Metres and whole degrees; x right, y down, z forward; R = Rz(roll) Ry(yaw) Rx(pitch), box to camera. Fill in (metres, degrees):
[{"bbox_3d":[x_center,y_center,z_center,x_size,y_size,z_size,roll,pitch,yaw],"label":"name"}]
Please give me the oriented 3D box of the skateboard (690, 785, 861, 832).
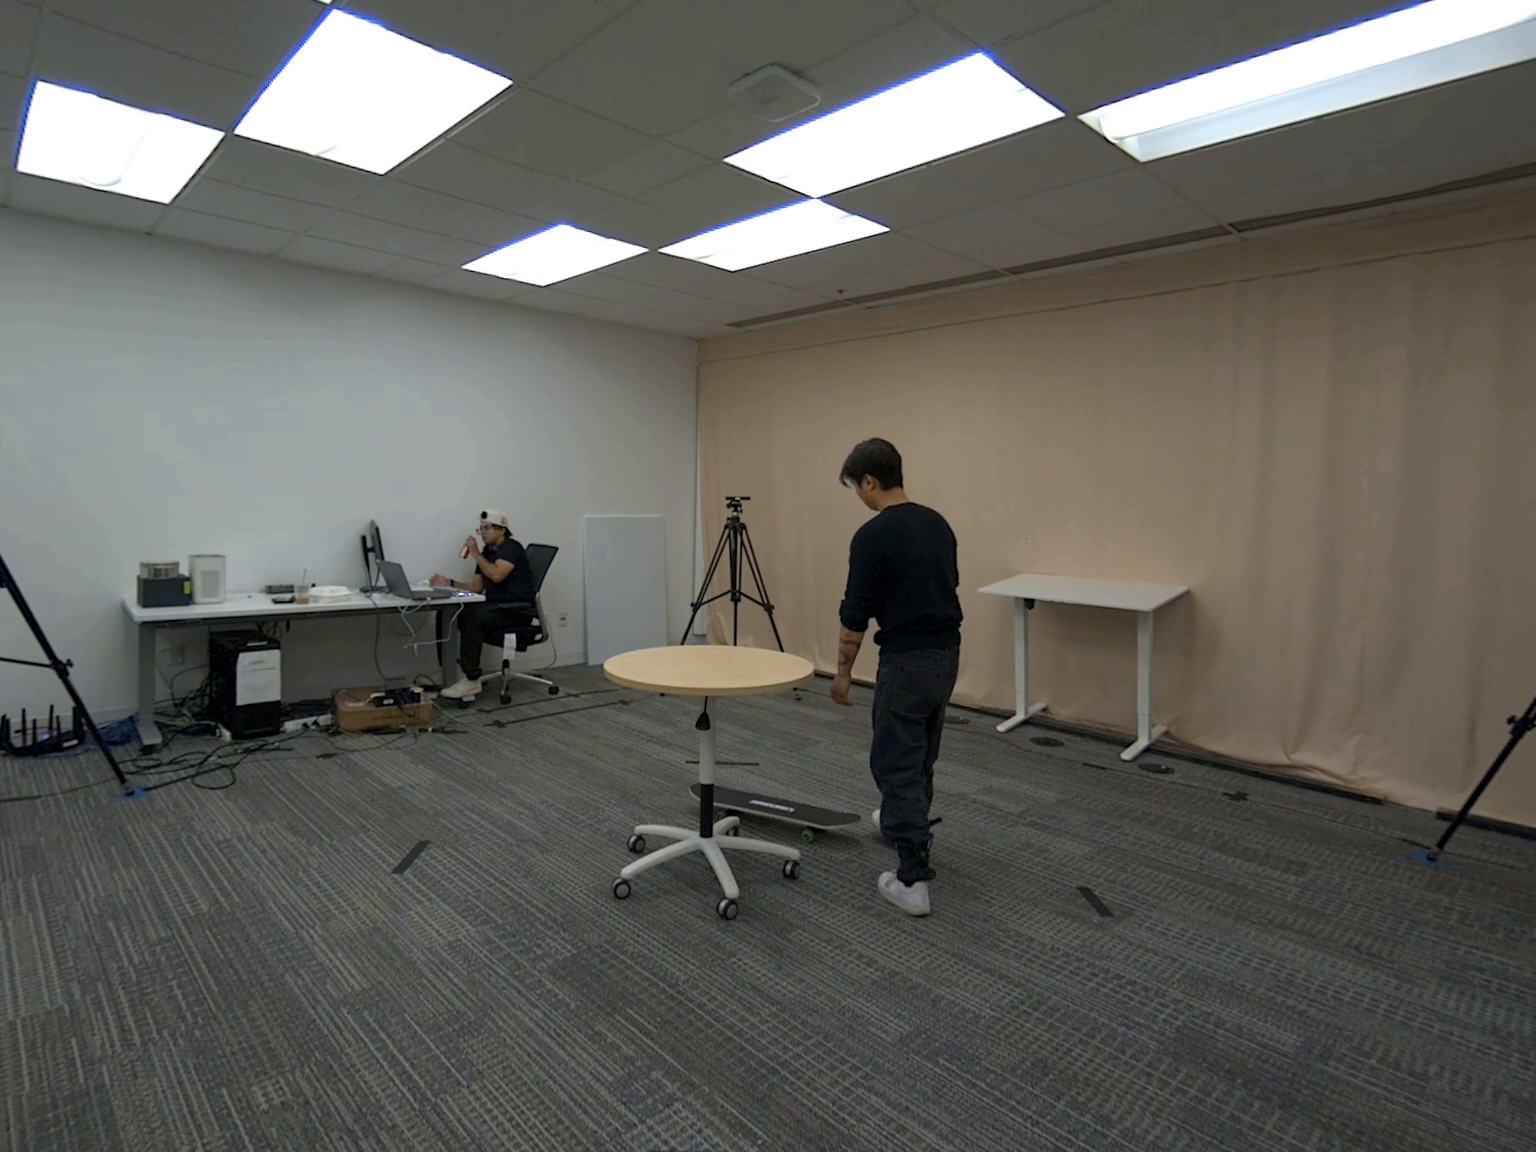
[{"bbox_3d":[0.012,1.006,3.590,0.802,0.110,0.190,4,5,29],"label":"skateboard"}]
